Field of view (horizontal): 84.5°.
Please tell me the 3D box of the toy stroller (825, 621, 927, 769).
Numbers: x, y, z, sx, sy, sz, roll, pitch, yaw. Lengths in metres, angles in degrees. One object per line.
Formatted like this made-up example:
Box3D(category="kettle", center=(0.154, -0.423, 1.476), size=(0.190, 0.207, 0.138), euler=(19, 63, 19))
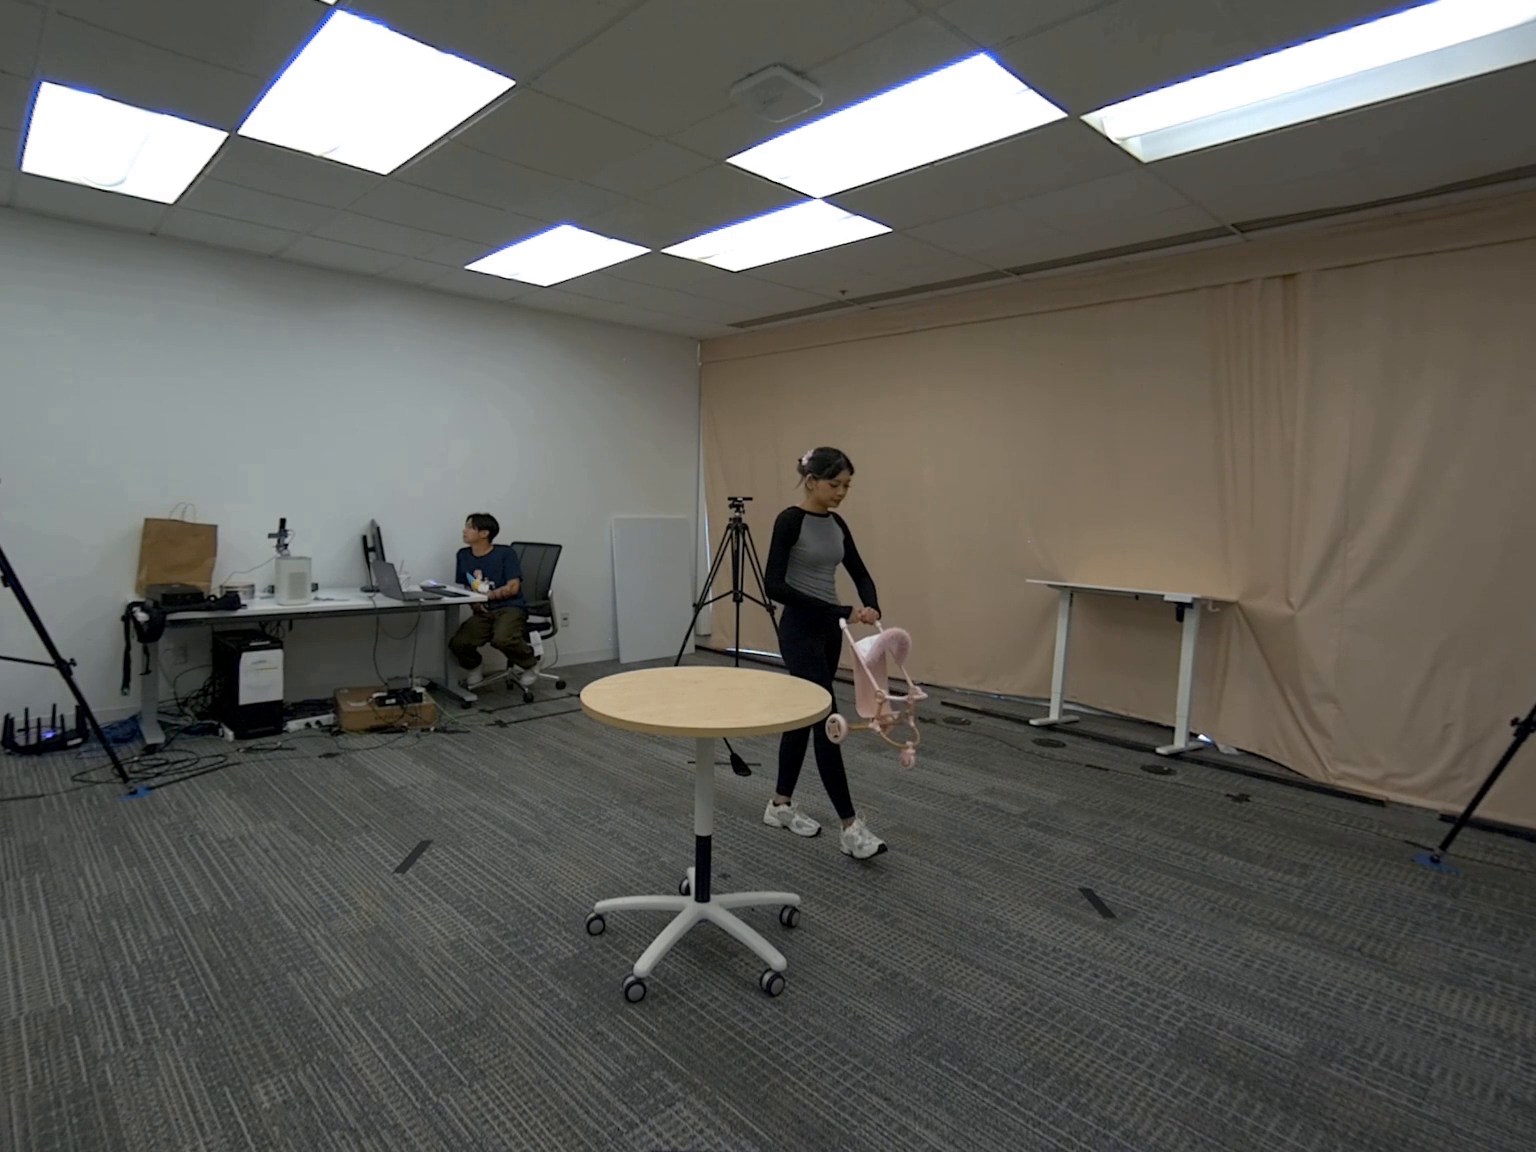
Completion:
Box3D(category="toy stroller", center=(0.421, 0.423, 3.111), size=(0.275, 0.535, 0.349), euler=(4, -1, -35))
